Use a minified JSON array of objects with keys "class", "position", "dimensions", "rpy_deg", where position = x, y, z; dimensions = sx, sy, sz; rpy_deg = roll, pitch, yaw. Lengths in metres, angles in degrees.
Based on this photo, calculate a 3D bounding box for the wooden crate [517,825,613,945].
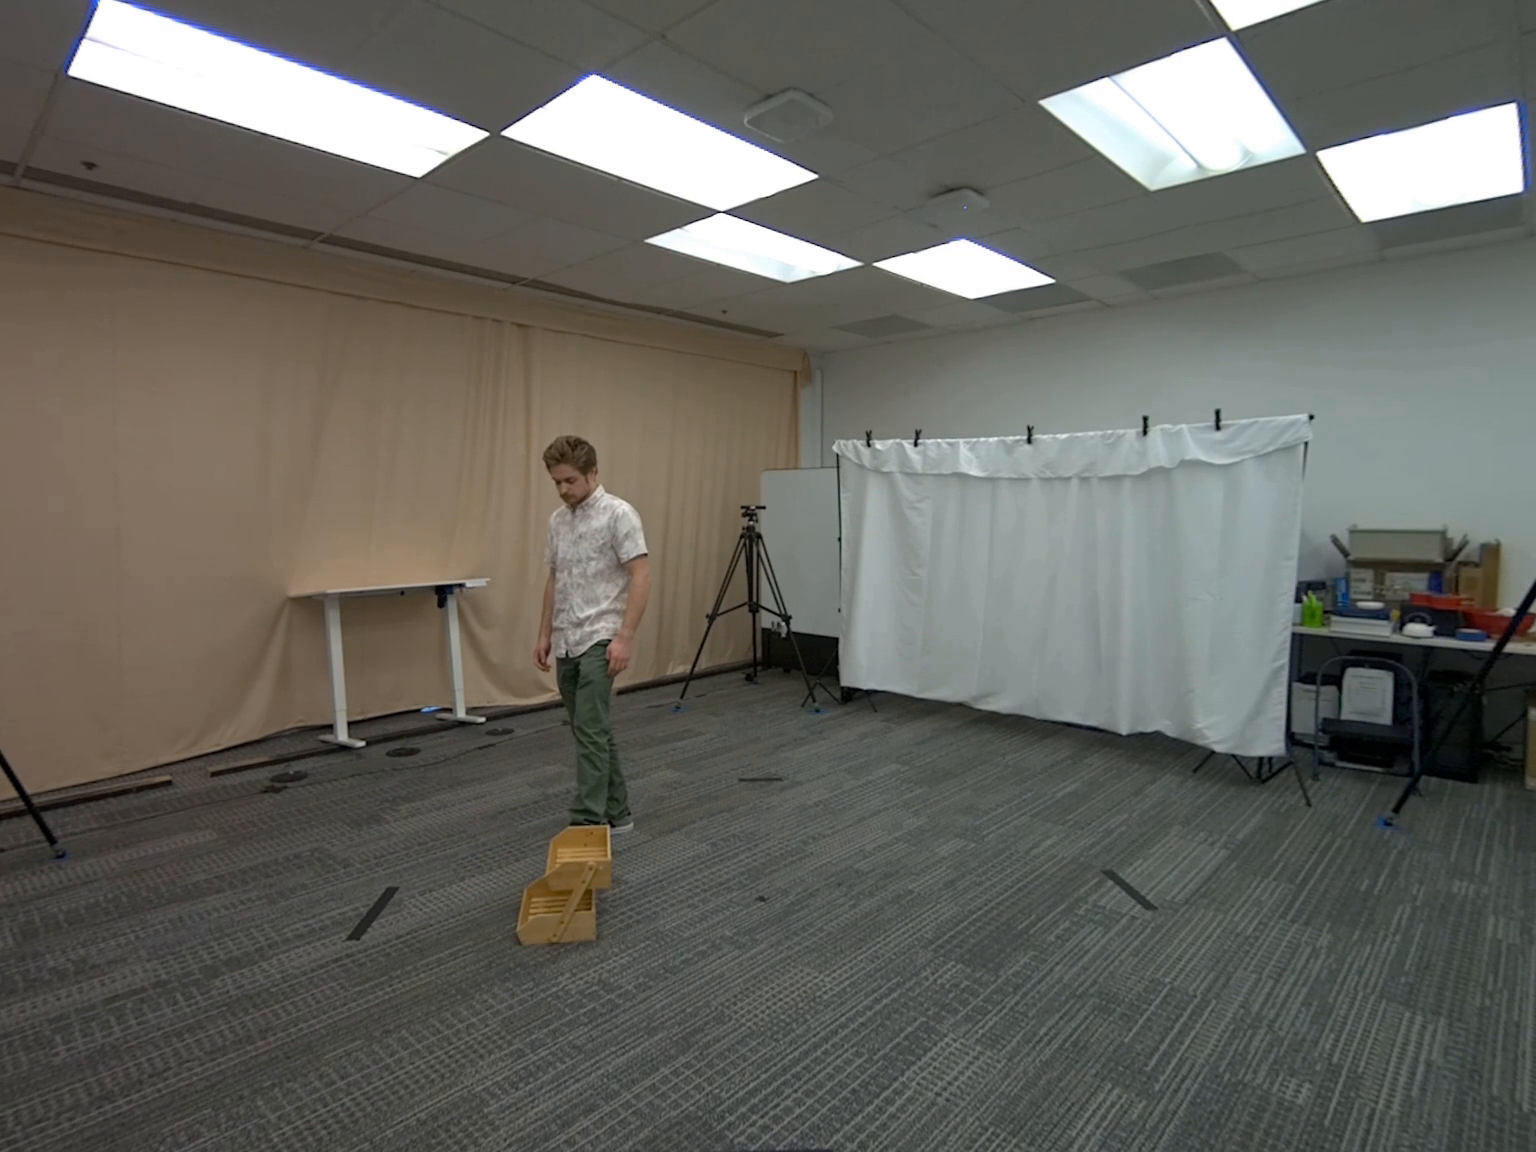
[{"class":"wooden crate","position":[-0.691,1.028,2.834],"dimensions":[0.299,0.273,0.329],"rpy_deg":[-1,4,-11]}]
